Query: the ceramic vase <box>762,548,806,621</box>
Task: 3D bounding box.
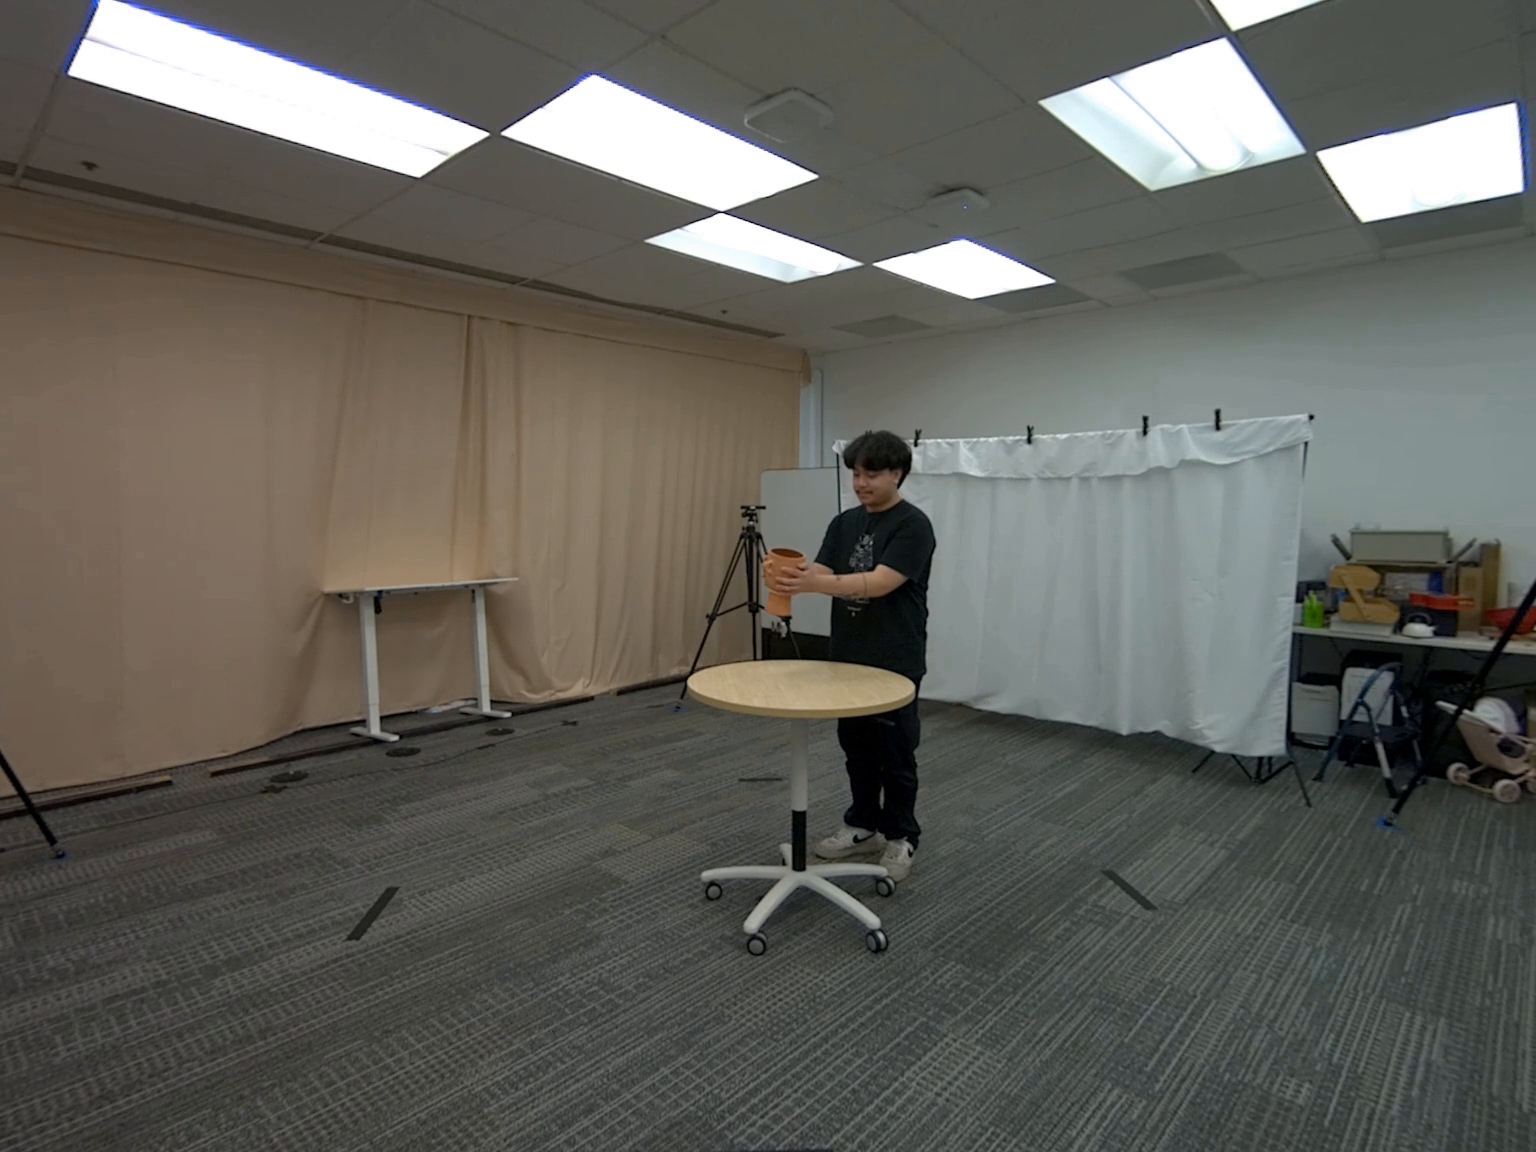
[{"bbox_3d":[0.057,0.024,2.996,0.158,0.218,0.136,9,13,-4],"label":"ceramic vase"}]
